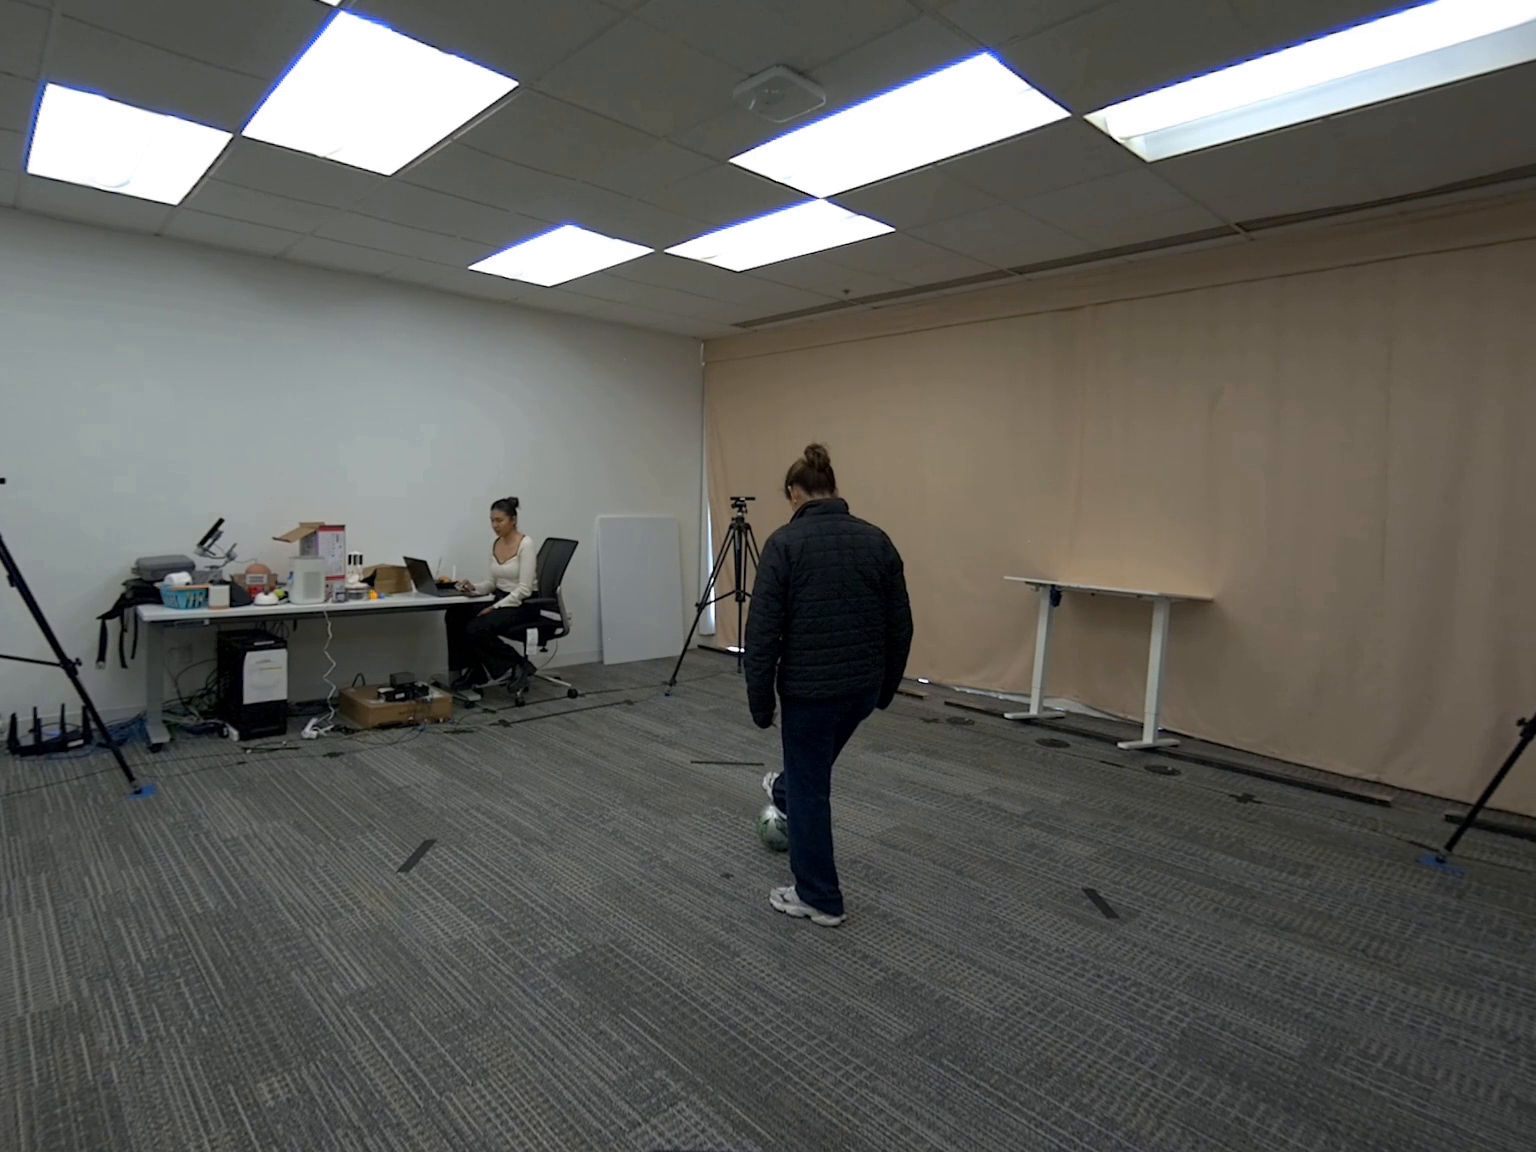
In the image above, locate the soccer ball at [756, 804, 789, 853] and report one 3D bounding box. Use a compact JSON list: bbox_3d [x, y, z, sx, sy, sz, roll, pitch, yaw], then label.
[{"bbox_3d":[0.038,0.992,3.366,0.187,0.187,0.188,1,4,-1],"label":"soccer ball"}]
